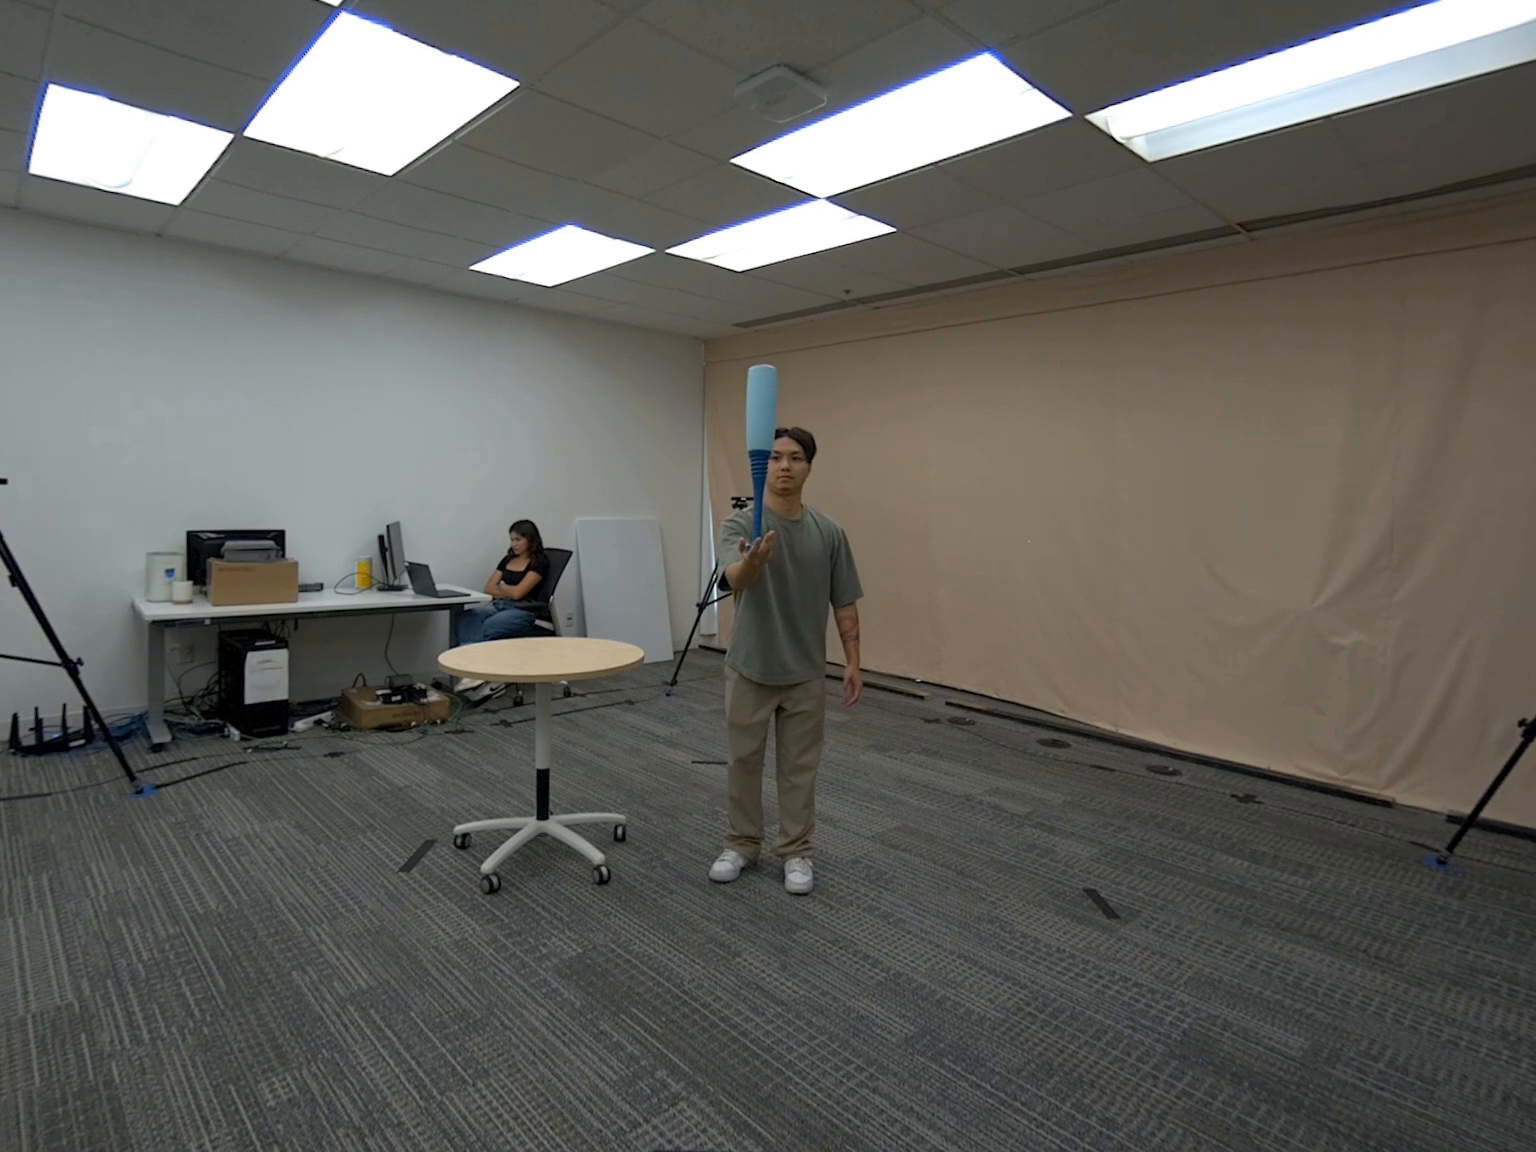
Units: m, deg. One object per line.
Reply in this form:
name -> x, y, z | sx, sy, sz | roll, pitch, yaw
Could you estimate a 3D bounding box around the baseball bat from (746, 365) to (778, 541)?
baseball bat -> -0.030, -0.336, 2.416 | 0.089, 0.546, 0.088 | 2, -7, -1
